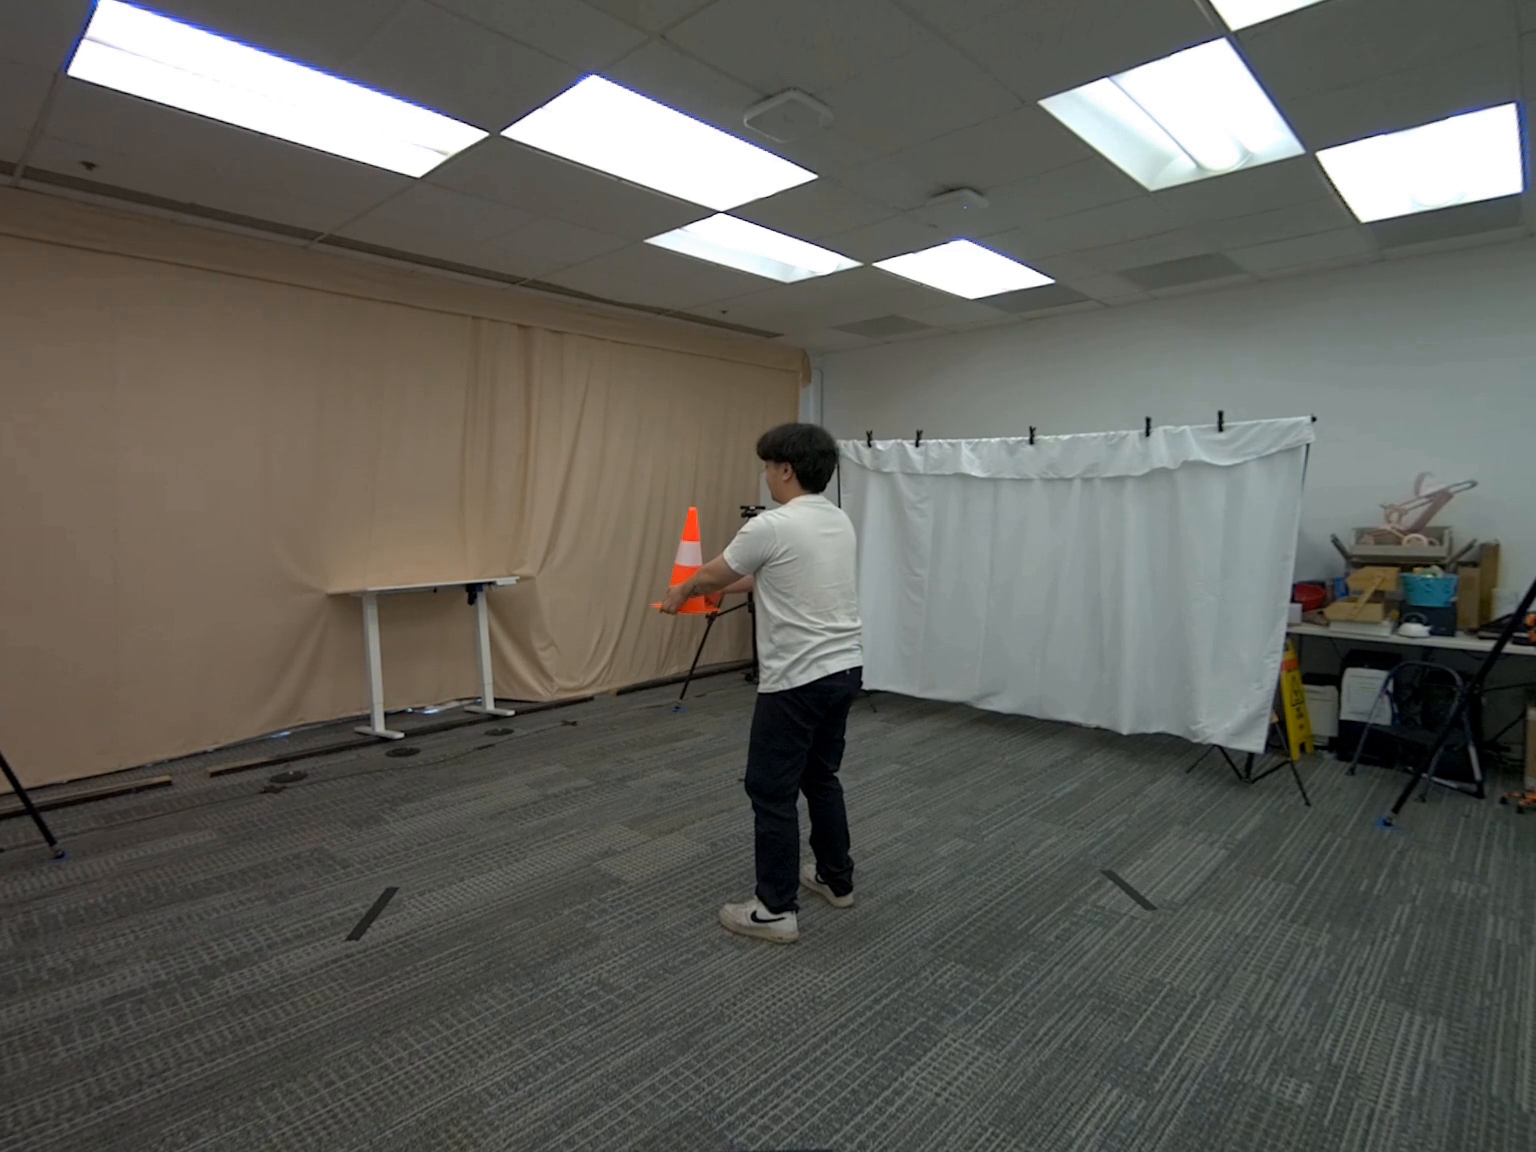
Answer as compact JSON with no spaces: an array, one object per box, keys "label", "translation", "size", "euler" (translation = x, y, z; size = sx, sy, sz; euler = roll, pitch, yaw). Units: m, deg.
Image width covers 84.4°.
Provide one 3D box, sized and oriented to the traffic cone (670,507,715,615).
[{"label":"traffic cone","translation":[-0.306,-0.066,3.186],"size":[0.209,0.382,0.200],"euler":[9,8,29]}]
